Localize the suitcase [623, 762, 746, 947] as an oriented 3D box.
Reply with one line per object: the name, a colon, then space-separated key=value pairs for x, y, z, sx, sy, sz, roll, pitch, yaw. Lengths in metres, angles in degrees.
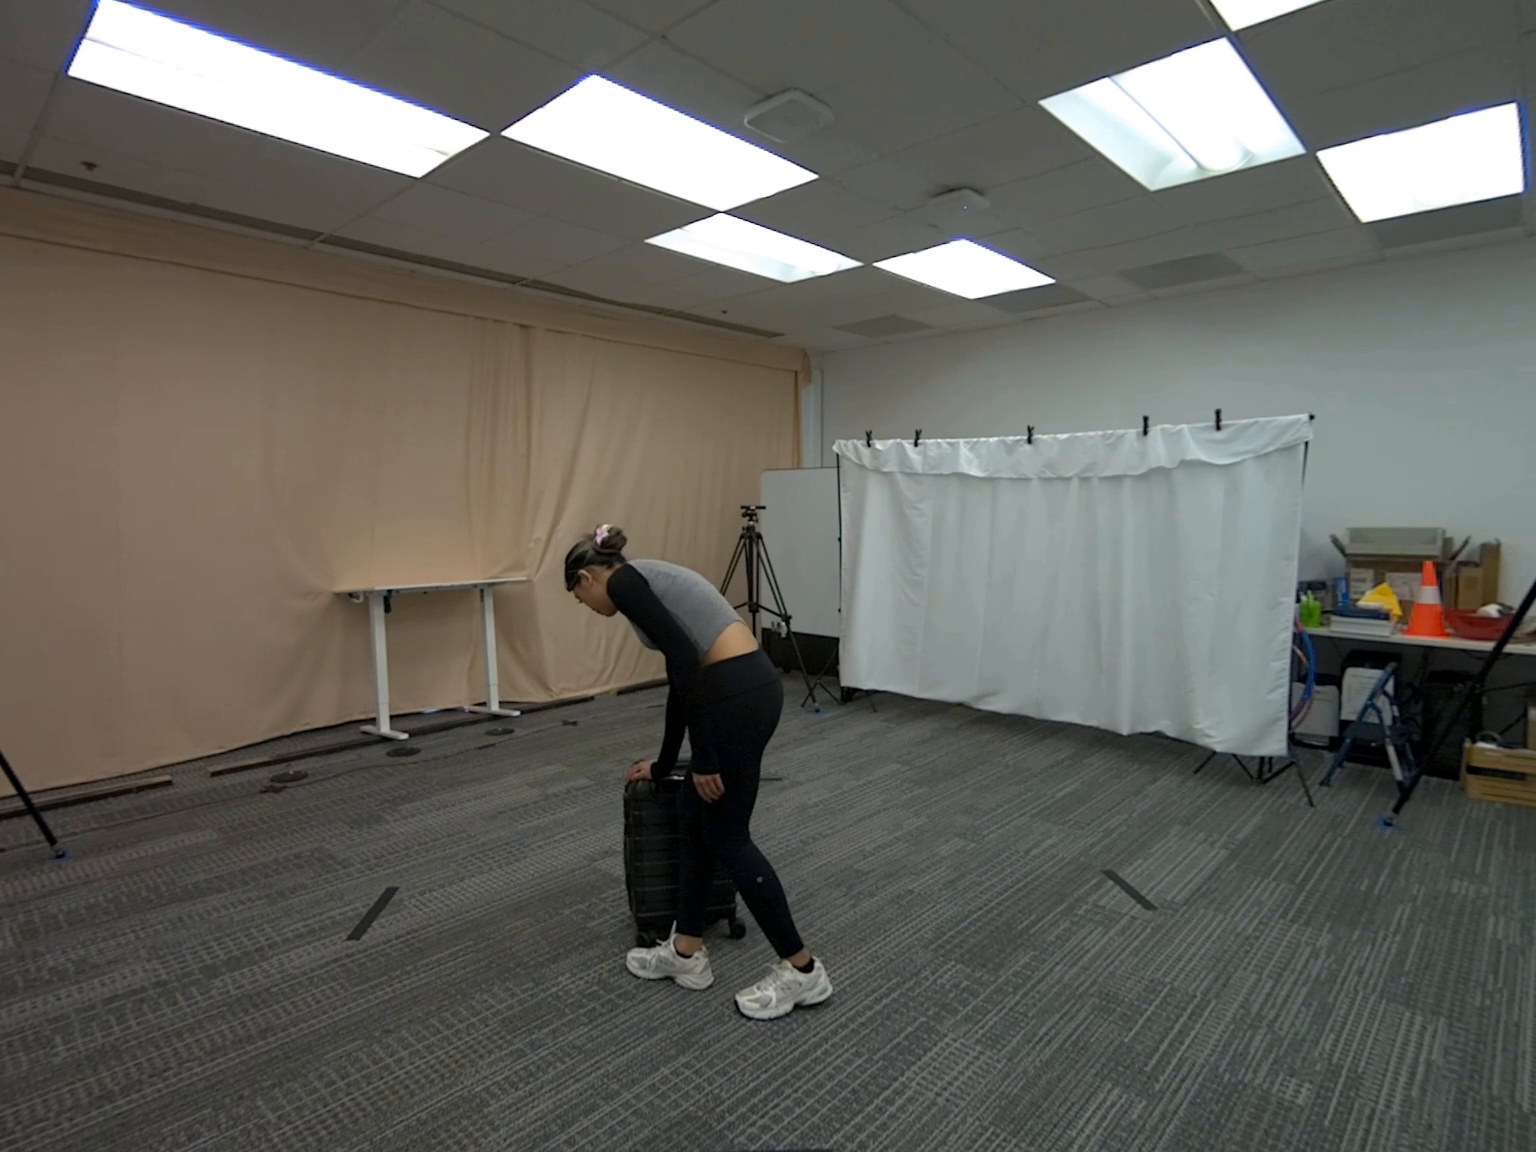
suitcase: x=-0.287 y=0.884 z=2.792 sx=0.372 sy=0.549 sz=0.251 roll=-2 pitch=1 yaw=-9
